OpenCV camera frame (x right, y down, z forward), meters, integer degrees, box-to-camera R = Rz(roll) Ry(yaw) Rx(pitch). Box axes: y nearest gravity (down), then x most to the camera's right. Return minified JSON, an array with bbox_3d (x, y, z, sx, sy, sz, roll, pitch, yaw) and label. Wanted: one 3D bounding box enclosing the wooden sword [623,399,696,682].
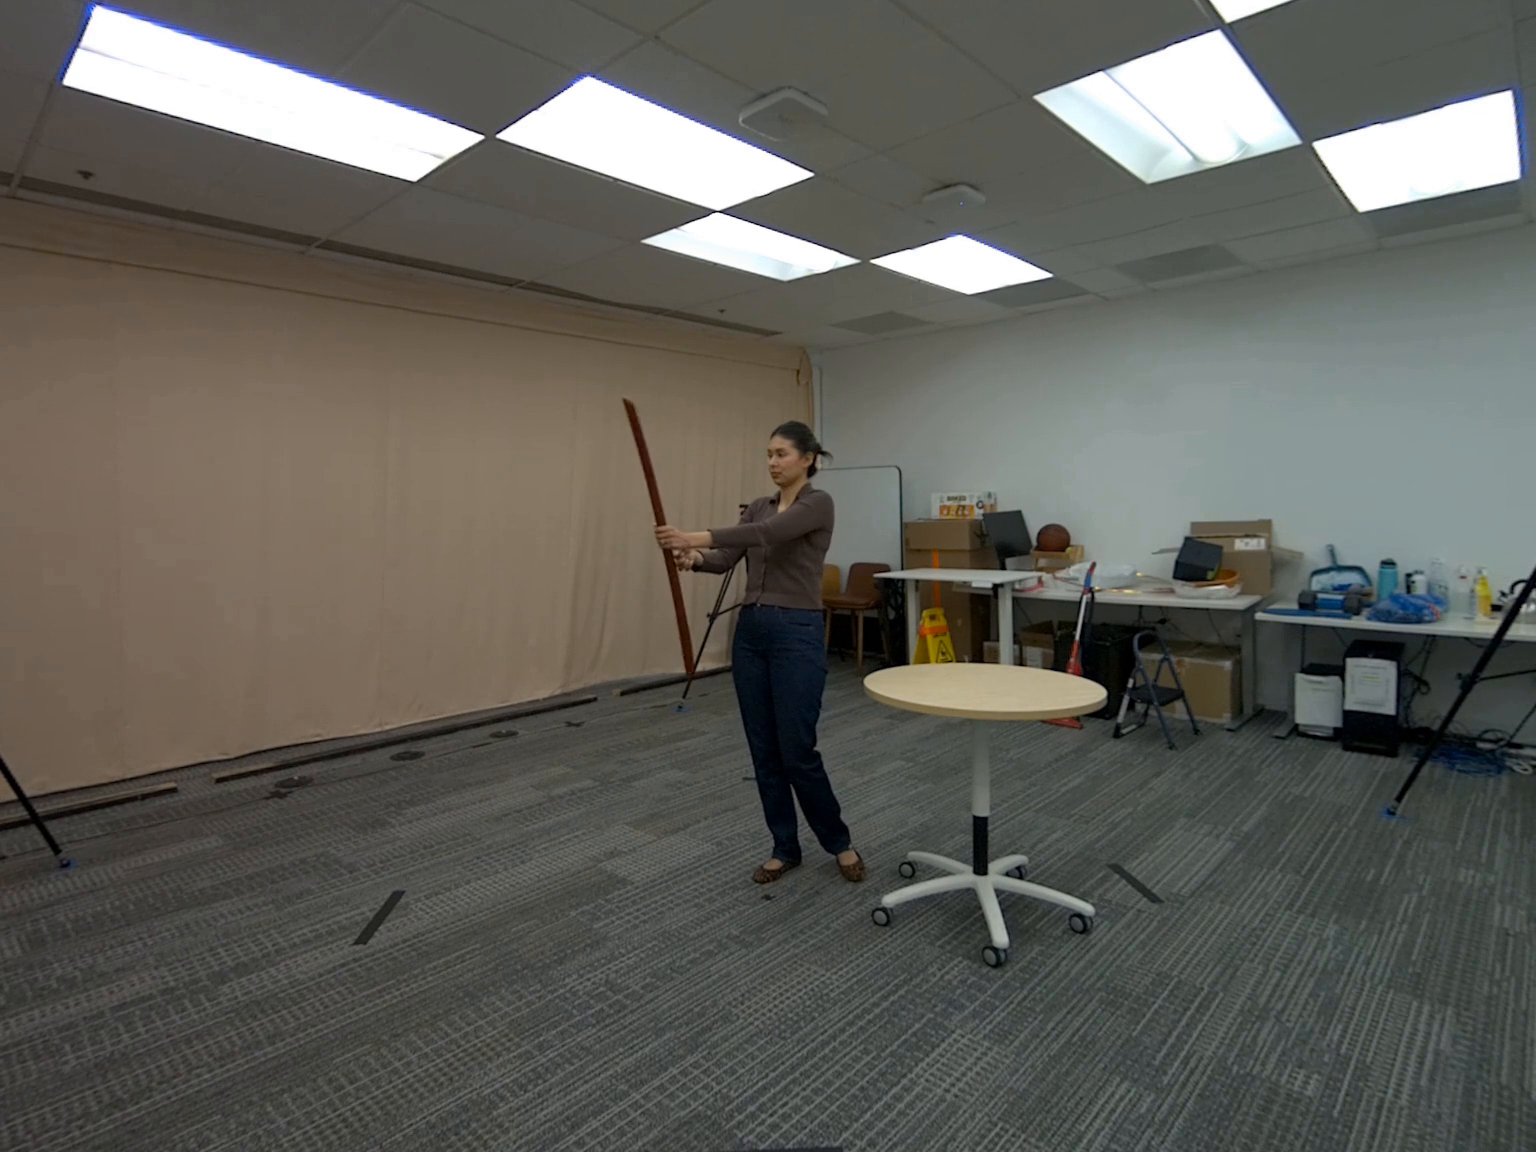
[{"bbox_3d":[-0.341,-0.105,2.784,0.024,1.004,0.053,-24,29,-21],"label":"wooden sword"}]
